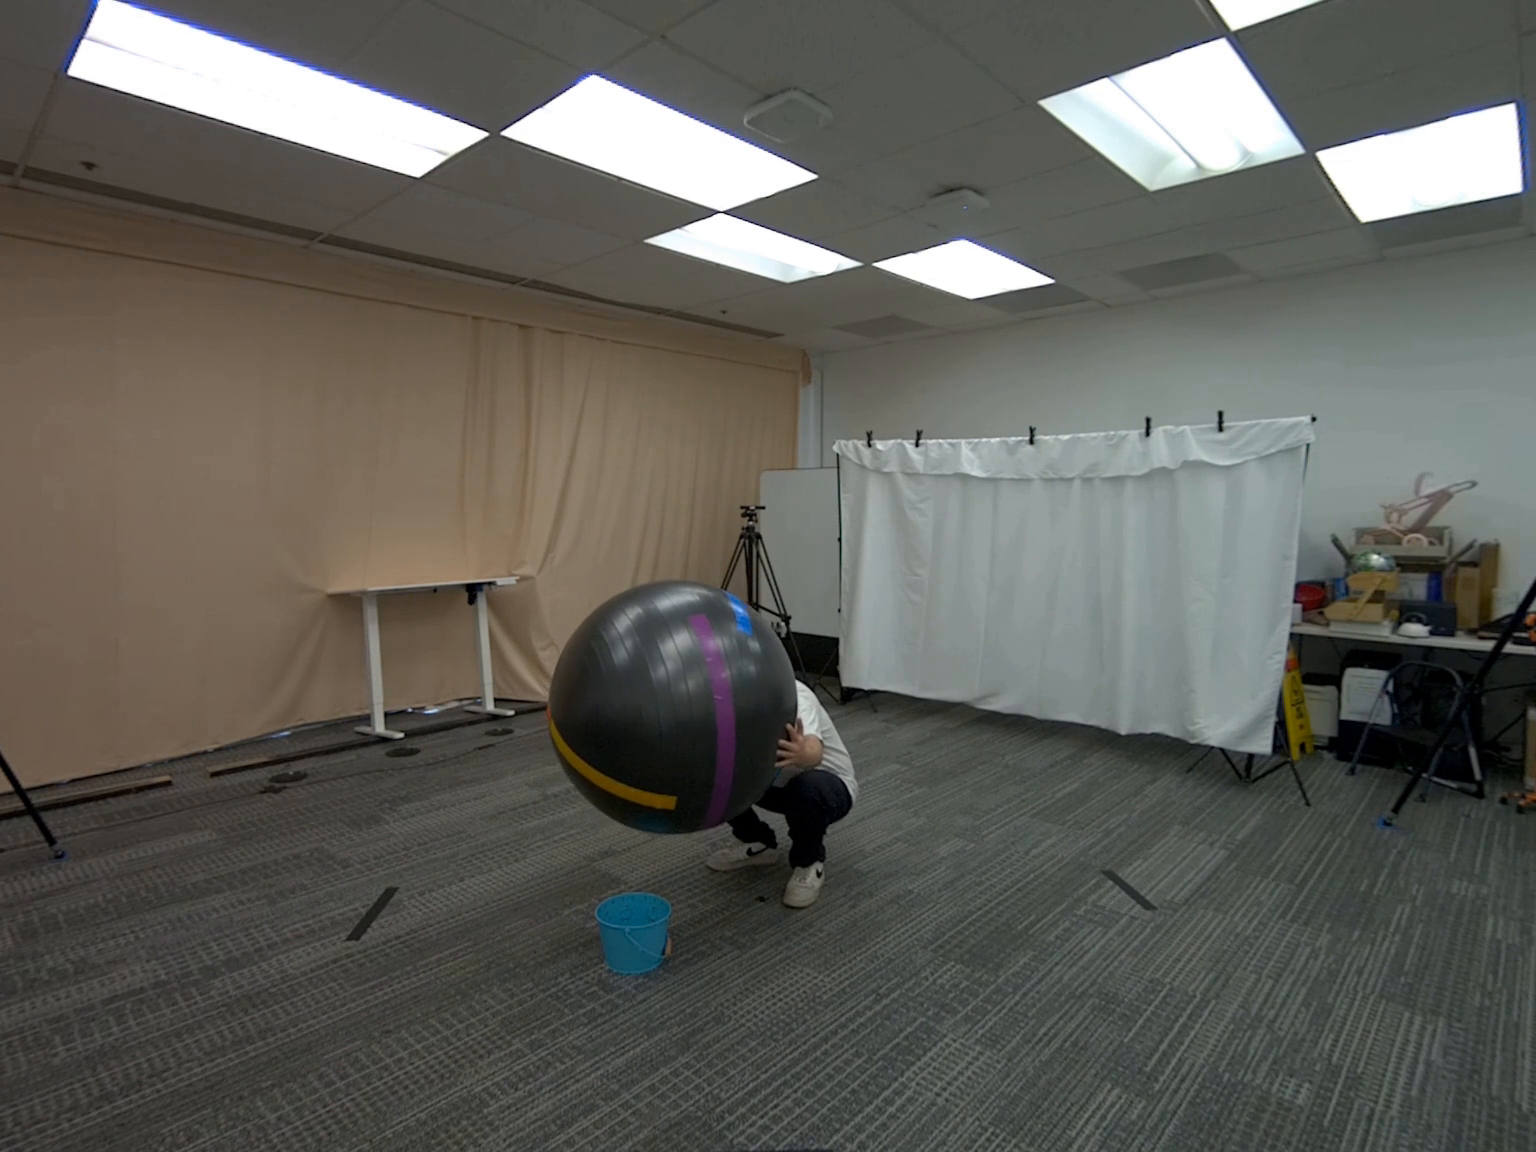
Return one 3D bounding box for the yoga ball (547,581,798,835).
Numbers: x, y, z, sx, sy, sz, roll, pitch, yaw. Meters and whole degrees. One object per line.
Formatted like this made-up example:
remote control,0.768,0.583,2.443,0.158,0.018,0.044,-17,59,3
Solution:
yoga ball,-0.283,0.399,2.570,0.757,0.756,0.760,0,4,-2
